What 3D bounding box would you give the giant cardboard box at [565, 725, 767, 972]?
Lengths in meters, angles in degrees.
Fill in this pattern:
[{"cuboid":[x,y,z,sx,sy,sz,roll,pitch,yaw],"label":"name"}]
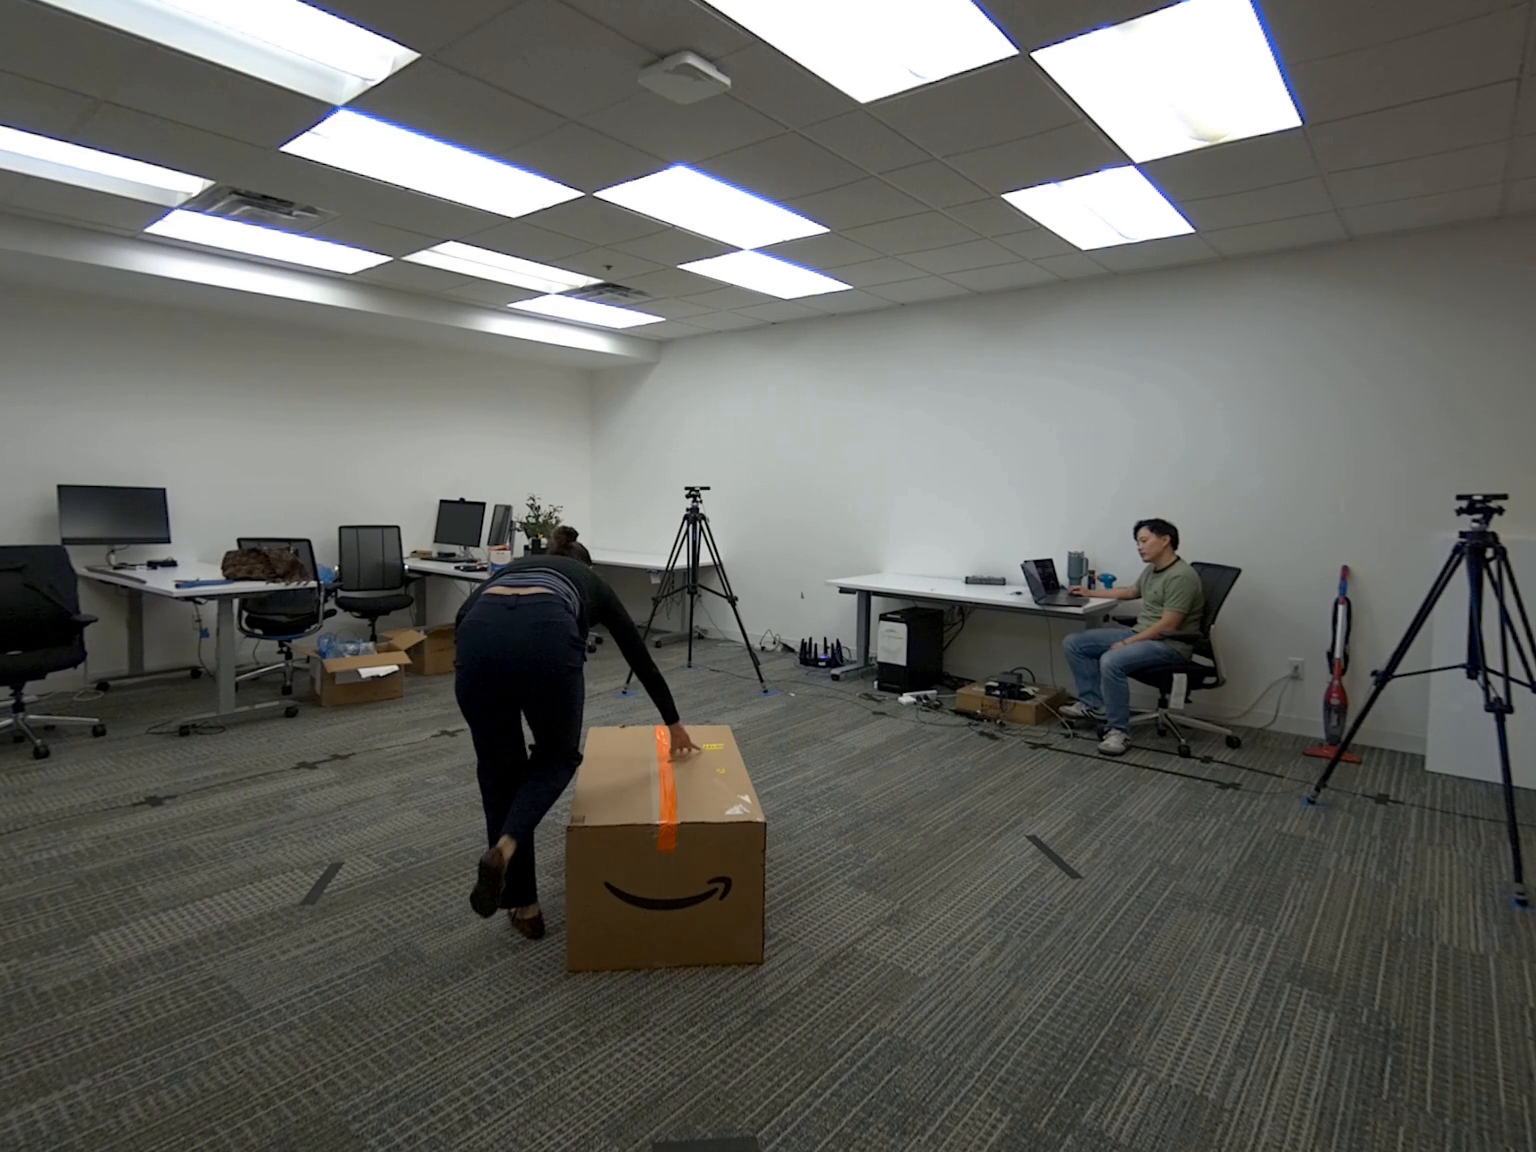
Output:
[{"cuboid":[-0.376,0.866,2.948,0.573,0.424,1.037,1,5,-8],"label":"giant cardboard box"}]
